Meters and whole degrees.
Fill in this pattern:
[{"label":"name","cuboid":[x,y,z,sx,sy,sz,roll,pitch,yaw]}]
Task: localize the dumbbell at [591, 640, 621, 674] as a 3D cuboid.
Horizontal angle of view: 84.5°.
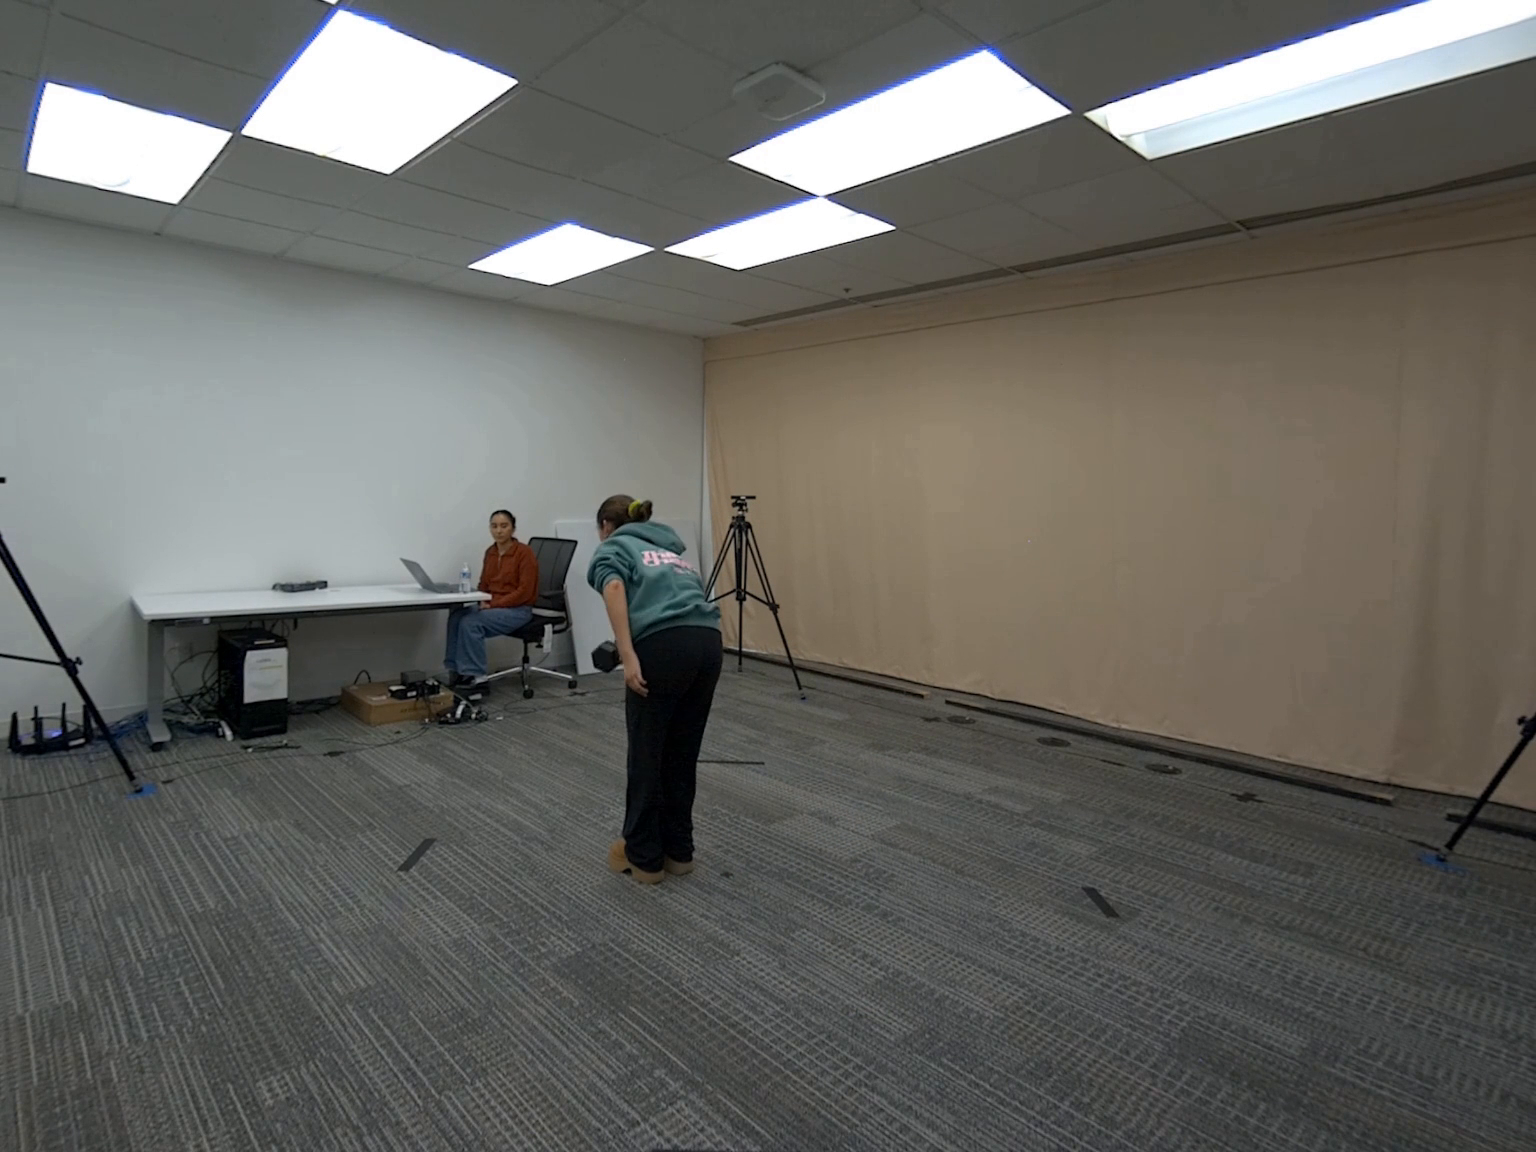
[{"label":"dumbbell","cuboid":[-0.619,0.305,3.450,0.123,0.109,0.292,-41,-2,16]}]
